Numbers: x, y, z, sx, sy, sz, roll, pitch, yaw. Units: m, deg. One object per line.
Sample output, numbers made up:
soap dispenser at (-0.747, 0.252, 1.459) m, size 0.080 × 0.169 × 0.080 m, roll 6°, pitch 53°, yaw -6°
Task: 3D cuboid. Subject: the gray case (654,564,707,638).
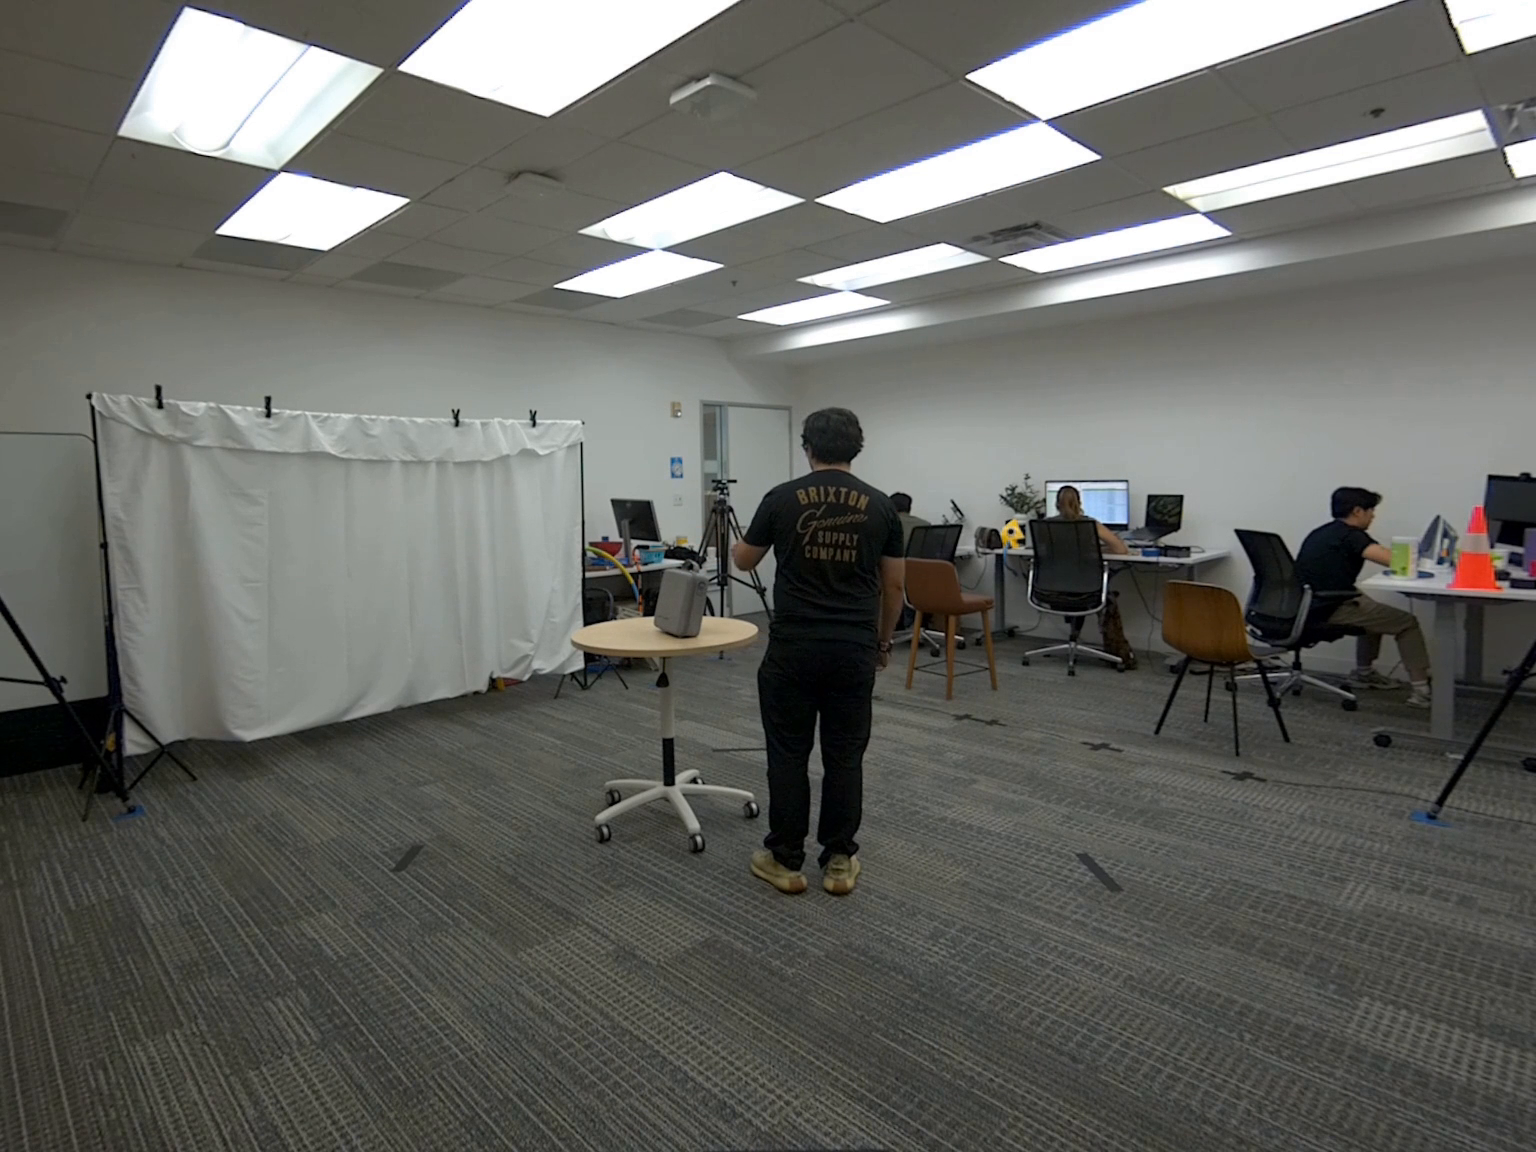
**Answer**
gray case at (-0.350, 0.101, 3.444) m, size 0.101 × 0.261 × 0.264 m, roll 10°, pitch -2°, yaw -29°
